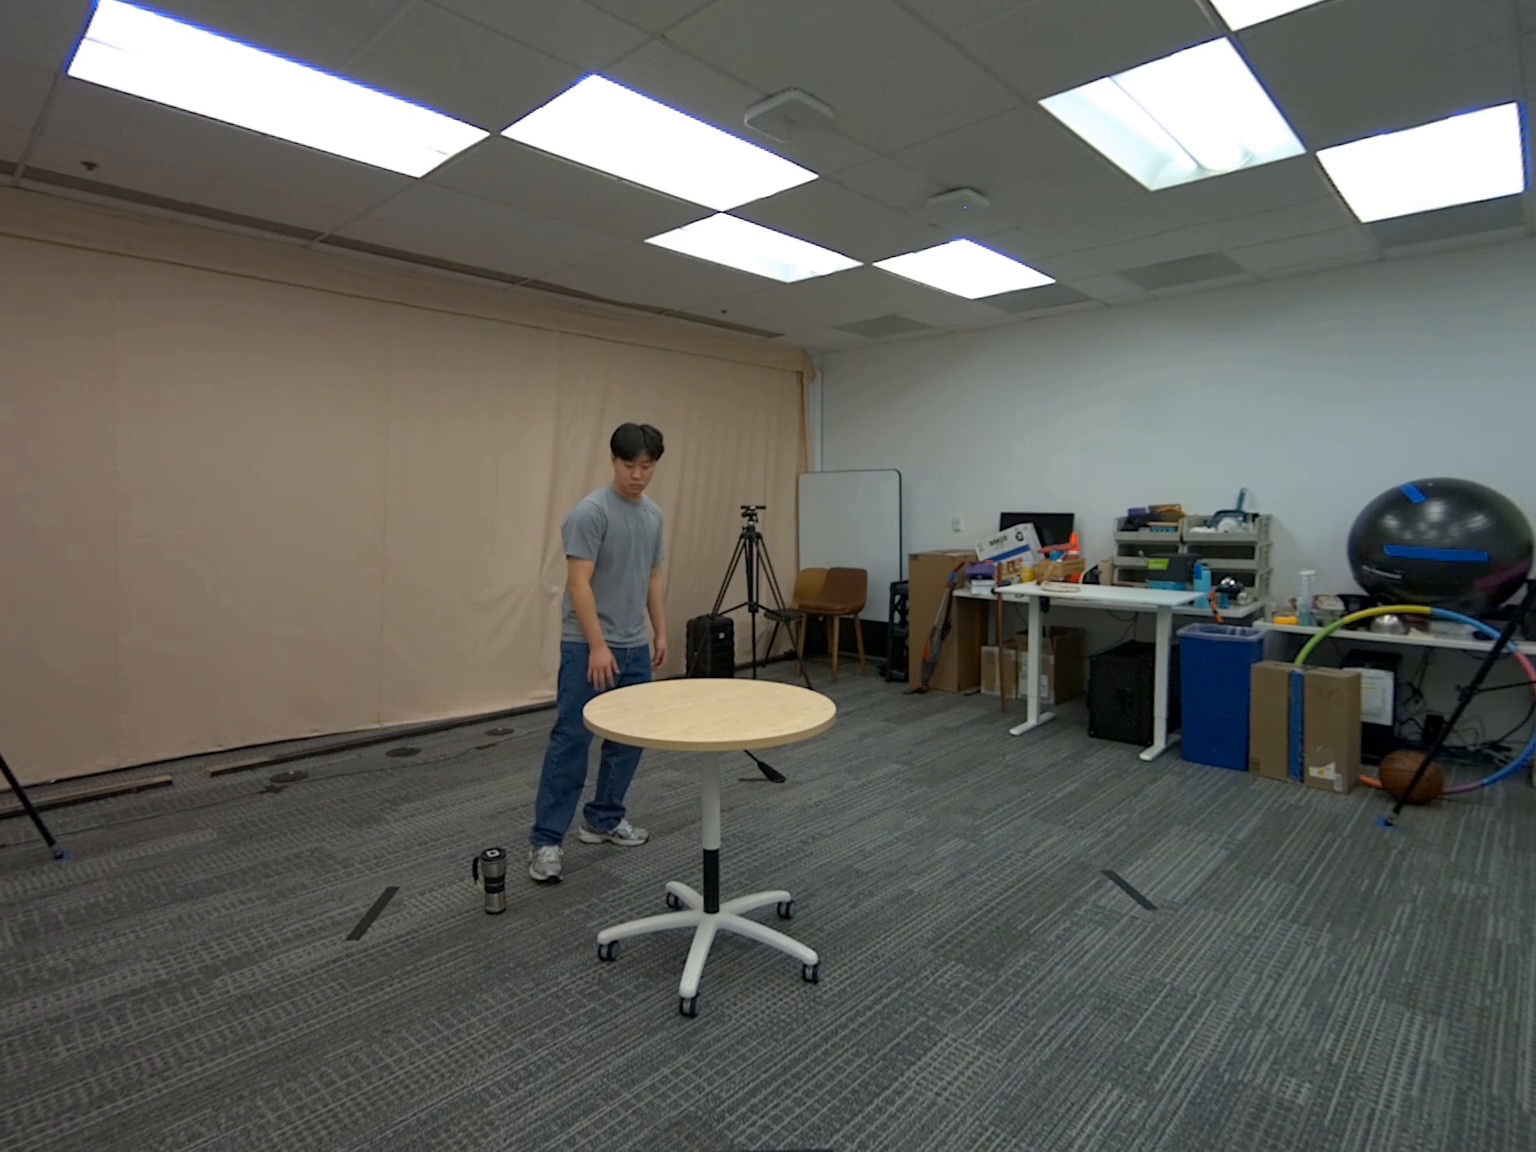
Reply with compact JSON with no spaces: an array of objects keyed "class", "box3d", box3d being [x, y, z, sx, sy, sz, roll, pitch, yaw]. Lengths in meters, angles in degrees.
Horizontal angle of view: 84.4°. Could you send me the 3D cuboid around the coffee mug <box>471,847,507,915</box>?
[{"class":"coffee mug","box3d":[-0.958,1.053,2.934,0.085,0.202,0.126,-7,9,-44]}]
